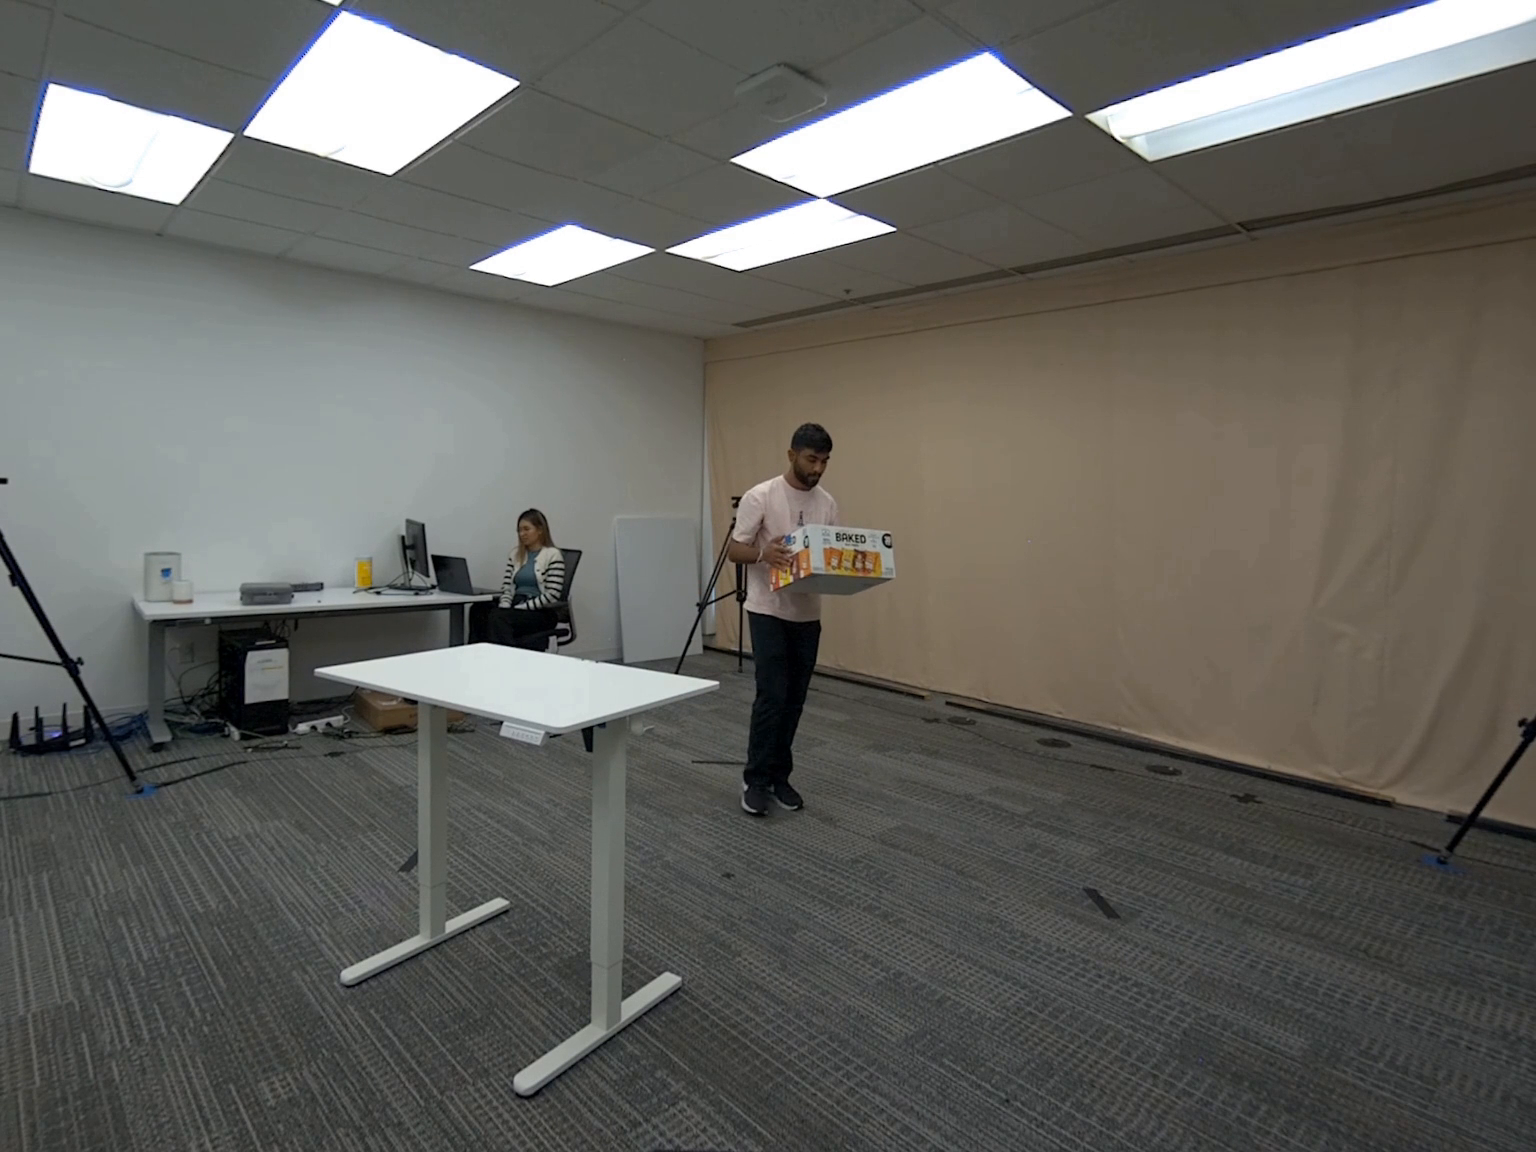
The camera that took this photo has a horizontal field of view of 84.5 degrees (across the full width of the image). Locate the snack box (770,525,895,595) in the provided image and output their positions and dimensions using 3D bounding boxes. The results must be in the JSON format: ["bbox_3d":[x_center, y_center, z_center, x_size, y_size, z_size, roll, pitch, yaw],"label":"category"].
[{"bbox_3d":[0.245,-0.059,3.521,0.397,0.208,0.344,4,-15,-28],"label":"snack box"}]
